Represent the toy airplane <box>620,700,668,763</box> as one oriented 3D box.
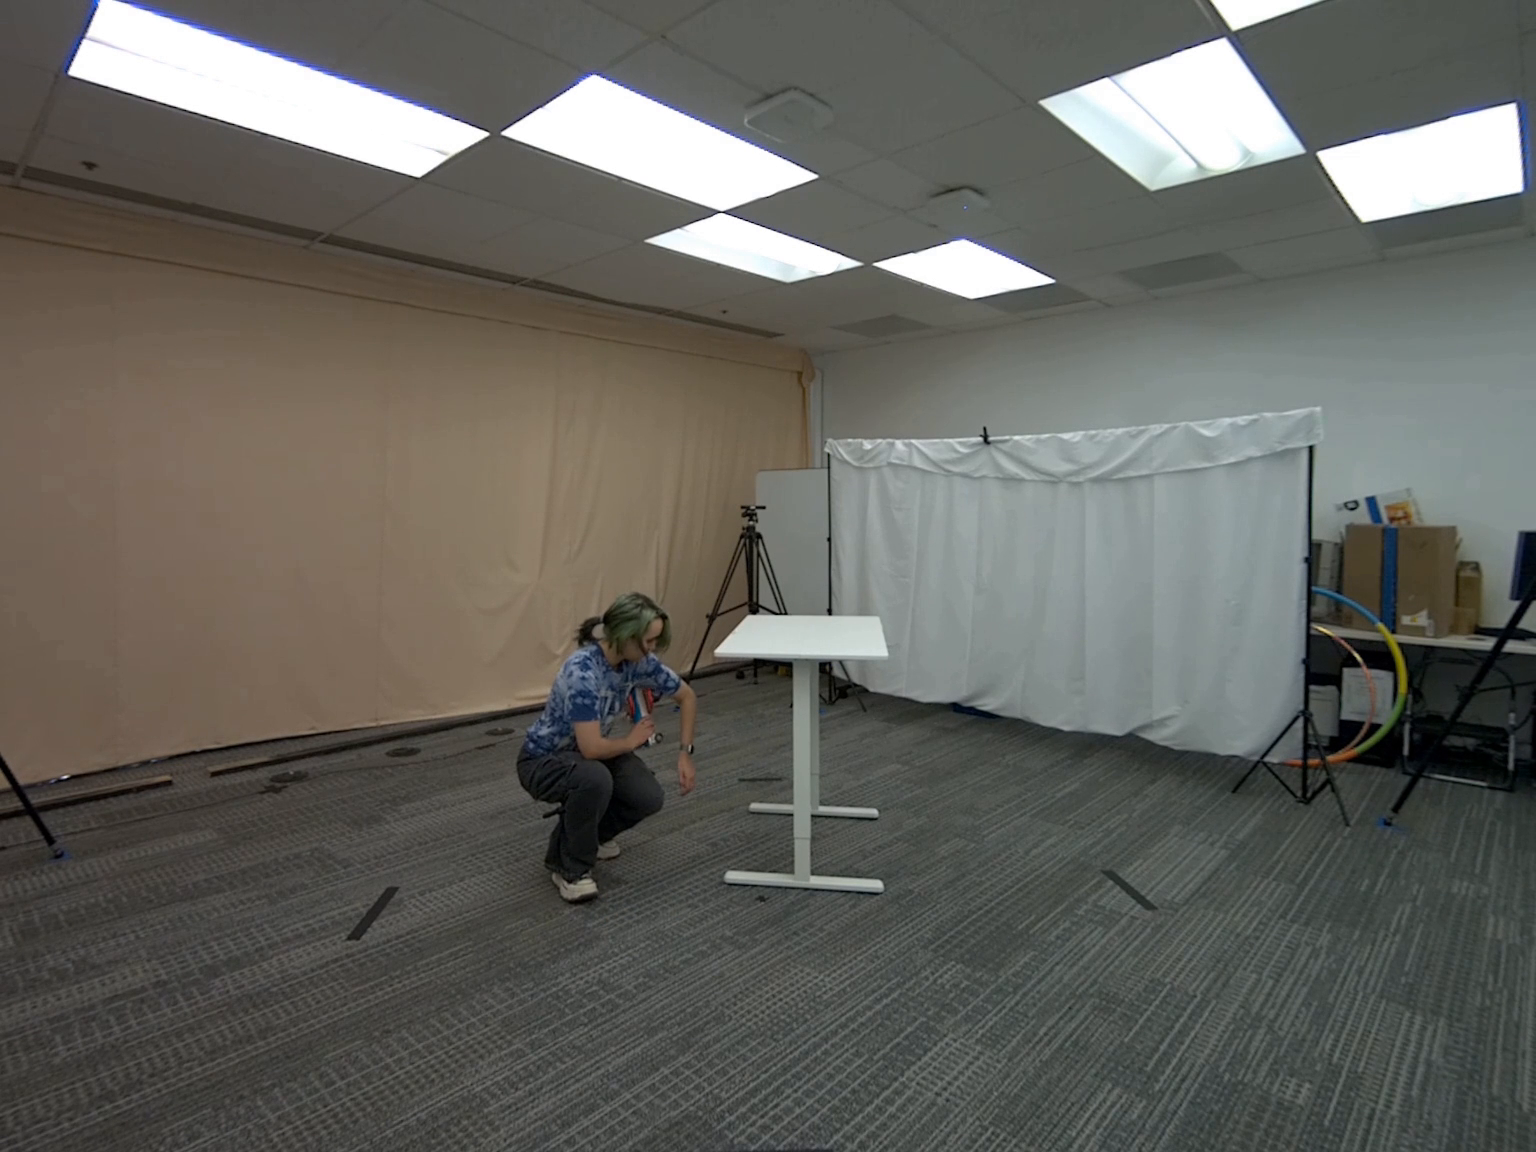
[{"bbox_3d":[-0.491,0.545,3.306,0.155,0.248,0.265,1,41,-11],"label":"toy airplane"}]
